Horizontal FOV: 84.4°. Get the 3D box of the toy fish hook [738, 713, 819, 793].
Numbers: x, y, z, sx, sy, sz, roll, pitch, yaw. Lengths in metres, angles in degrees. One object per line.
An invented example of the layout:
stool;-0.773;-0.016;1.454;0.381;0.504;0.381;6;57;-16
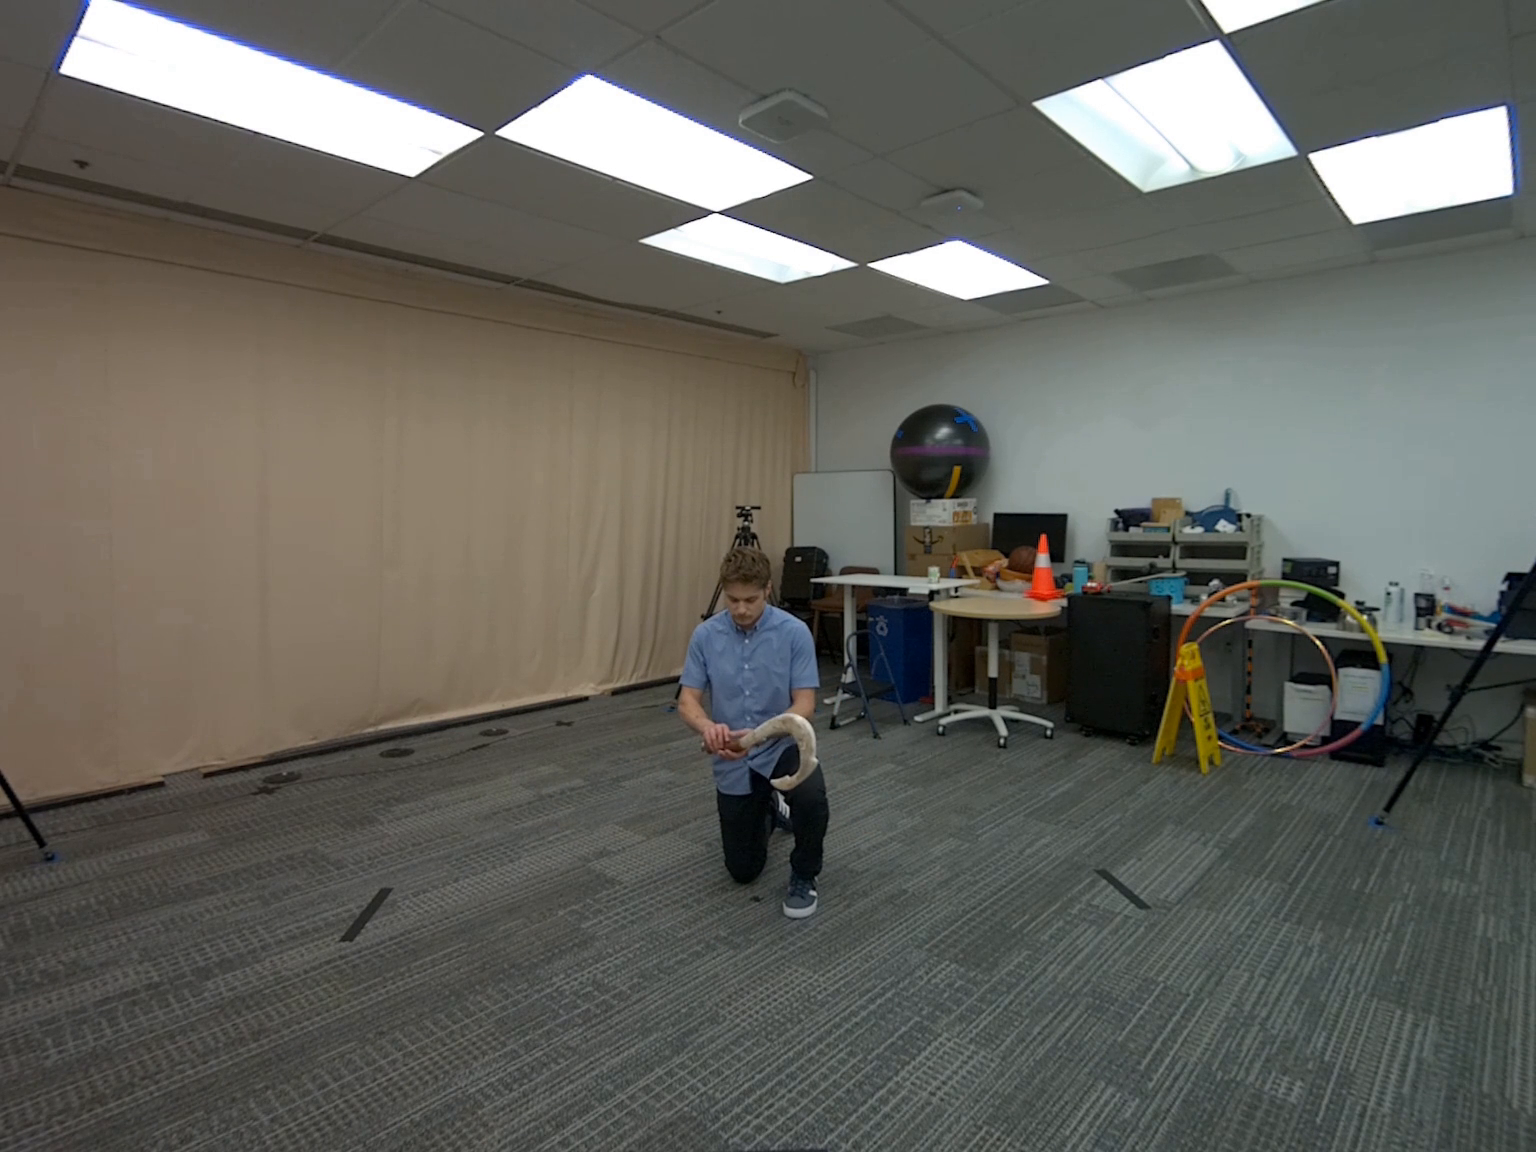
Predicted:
toy fish hook;-0.043;0.578;2.689;0.046;0.227;0.518;14;-23;-41
